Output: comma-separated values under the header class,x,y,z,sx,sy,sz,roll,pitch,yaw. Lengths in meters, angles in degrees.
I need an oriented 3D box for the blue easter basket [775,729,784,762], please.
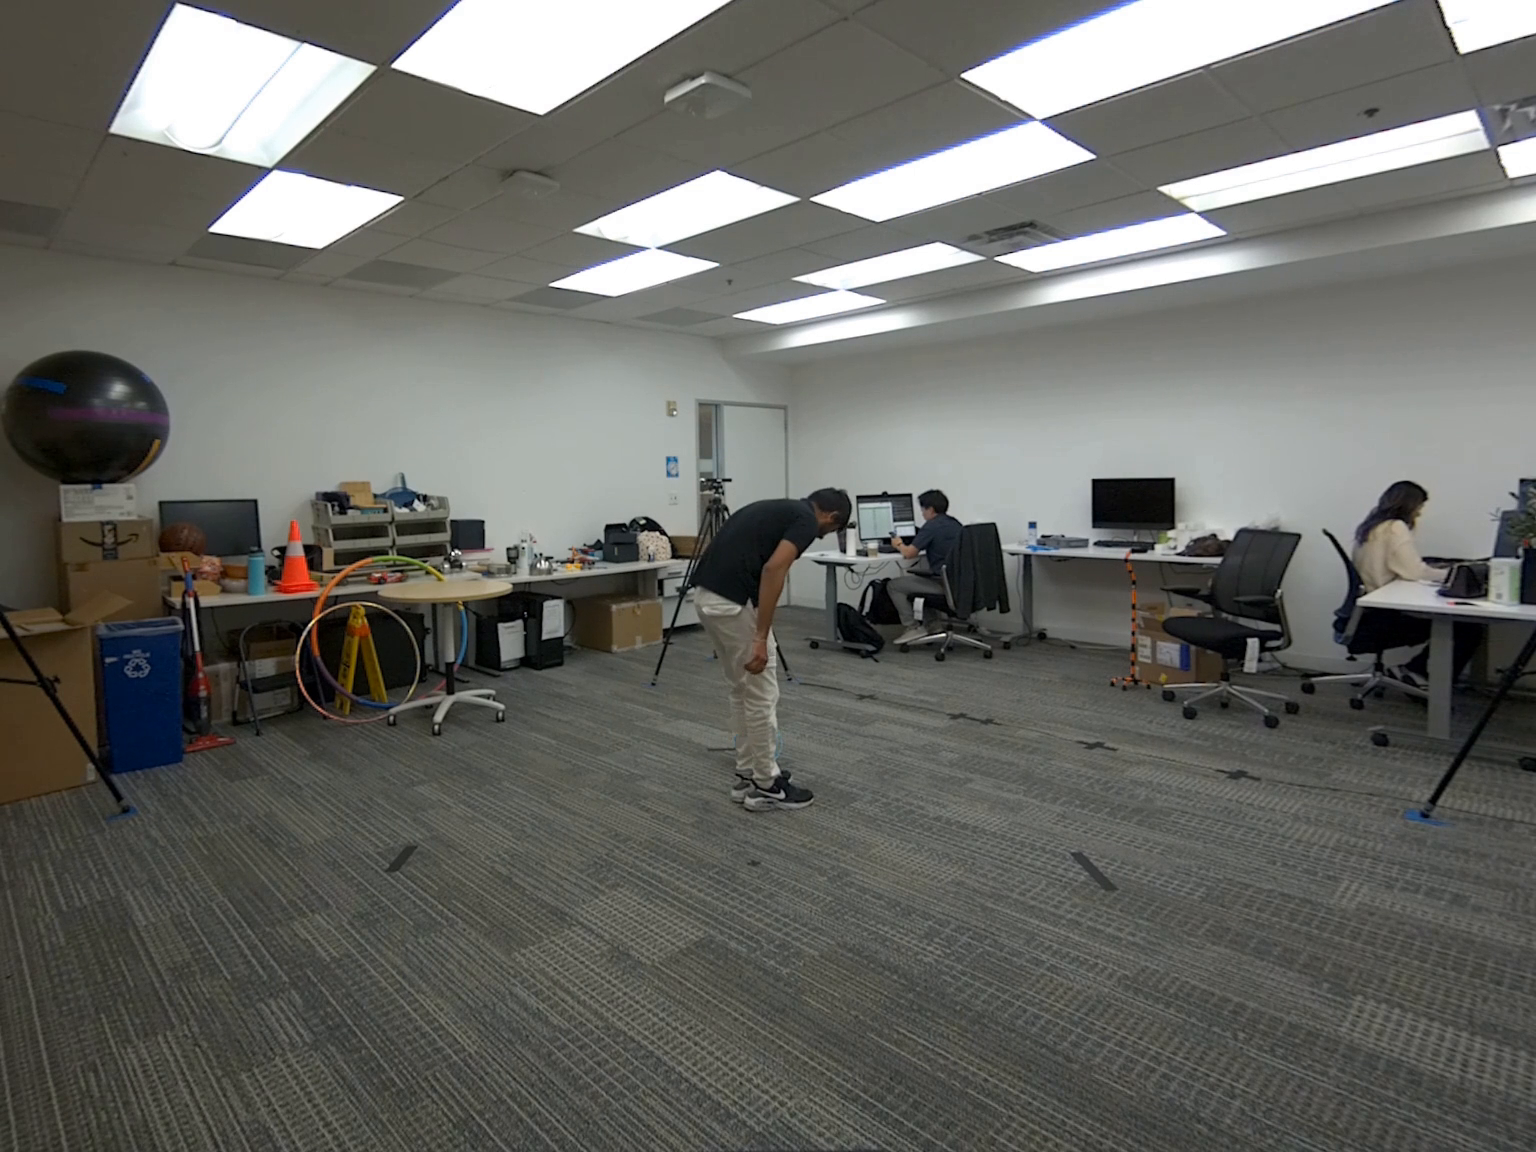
class,x,y,z,sx,sy,sz,roll,pitch,yaw
blue easter basket,-0.056,0.849,4.199,0.243,0.155,0.245,-2,5,-1
